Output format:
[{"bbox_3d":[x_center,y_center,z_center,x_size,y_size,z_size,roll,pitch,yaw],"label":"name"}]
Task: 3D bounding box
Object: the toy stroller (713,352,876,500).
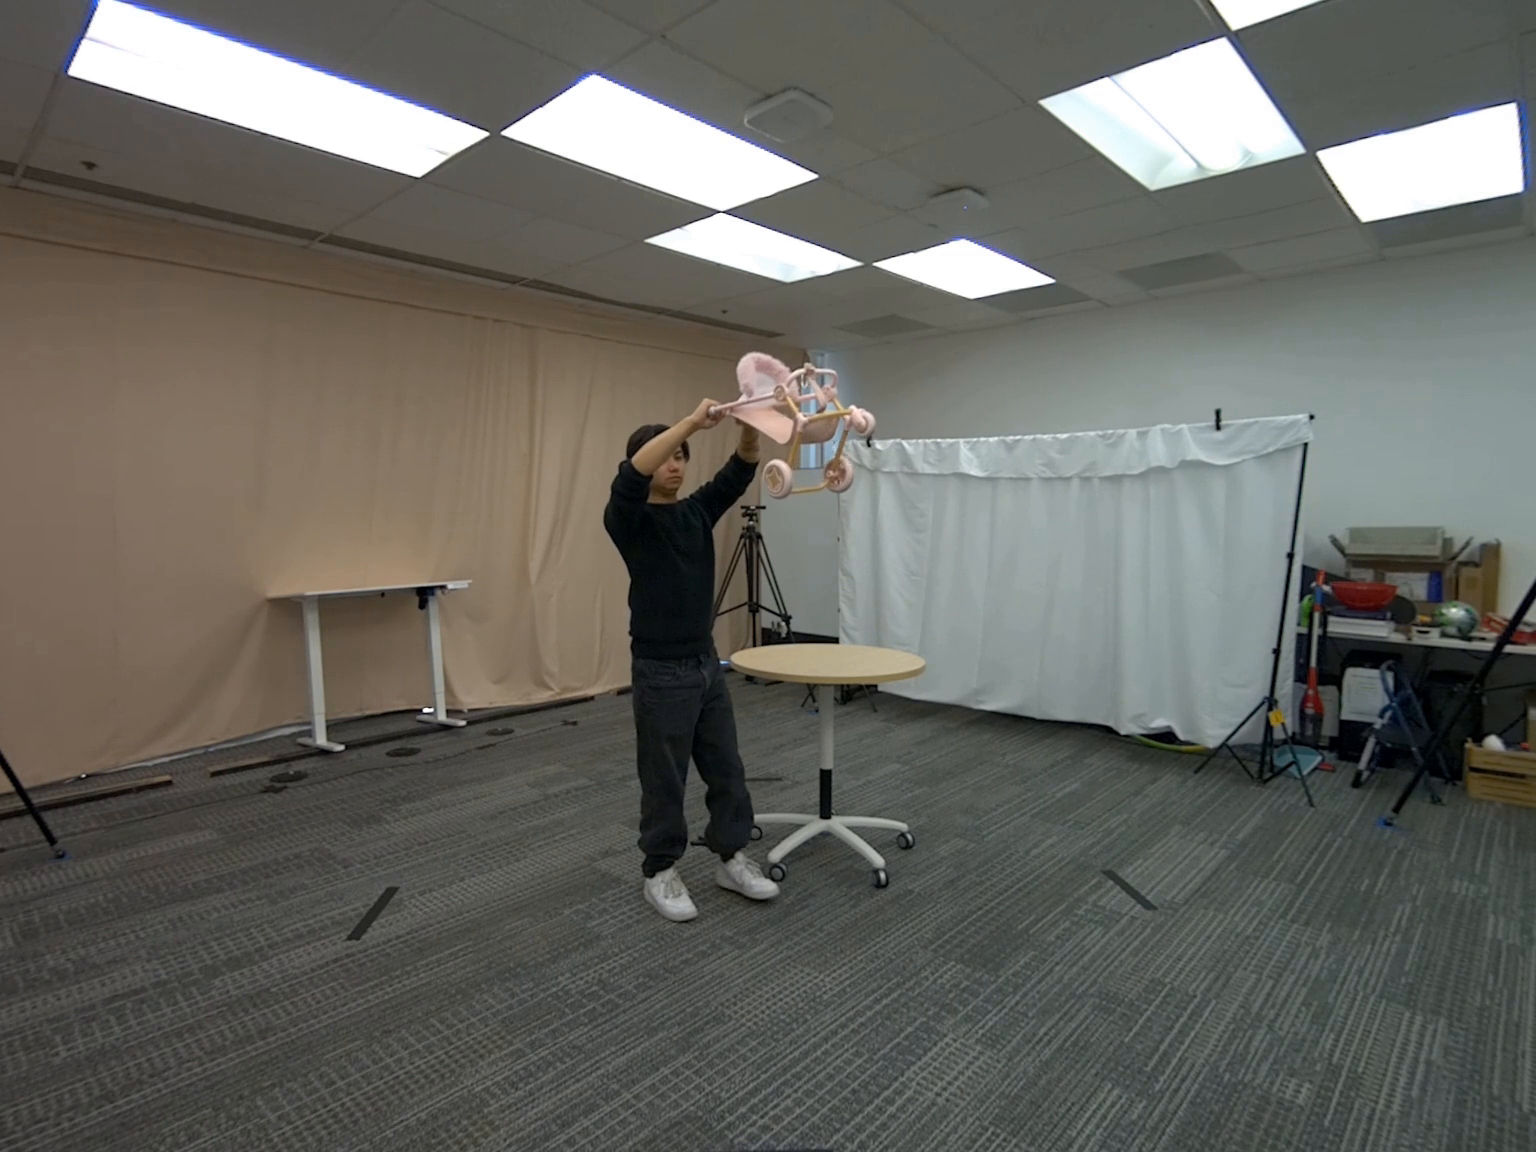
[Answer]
[{"bbox_3d":[0.079,-0.456,2.406,0.274,0.340,0.551,-12,50,-37],"label":"toy stroller"}]
